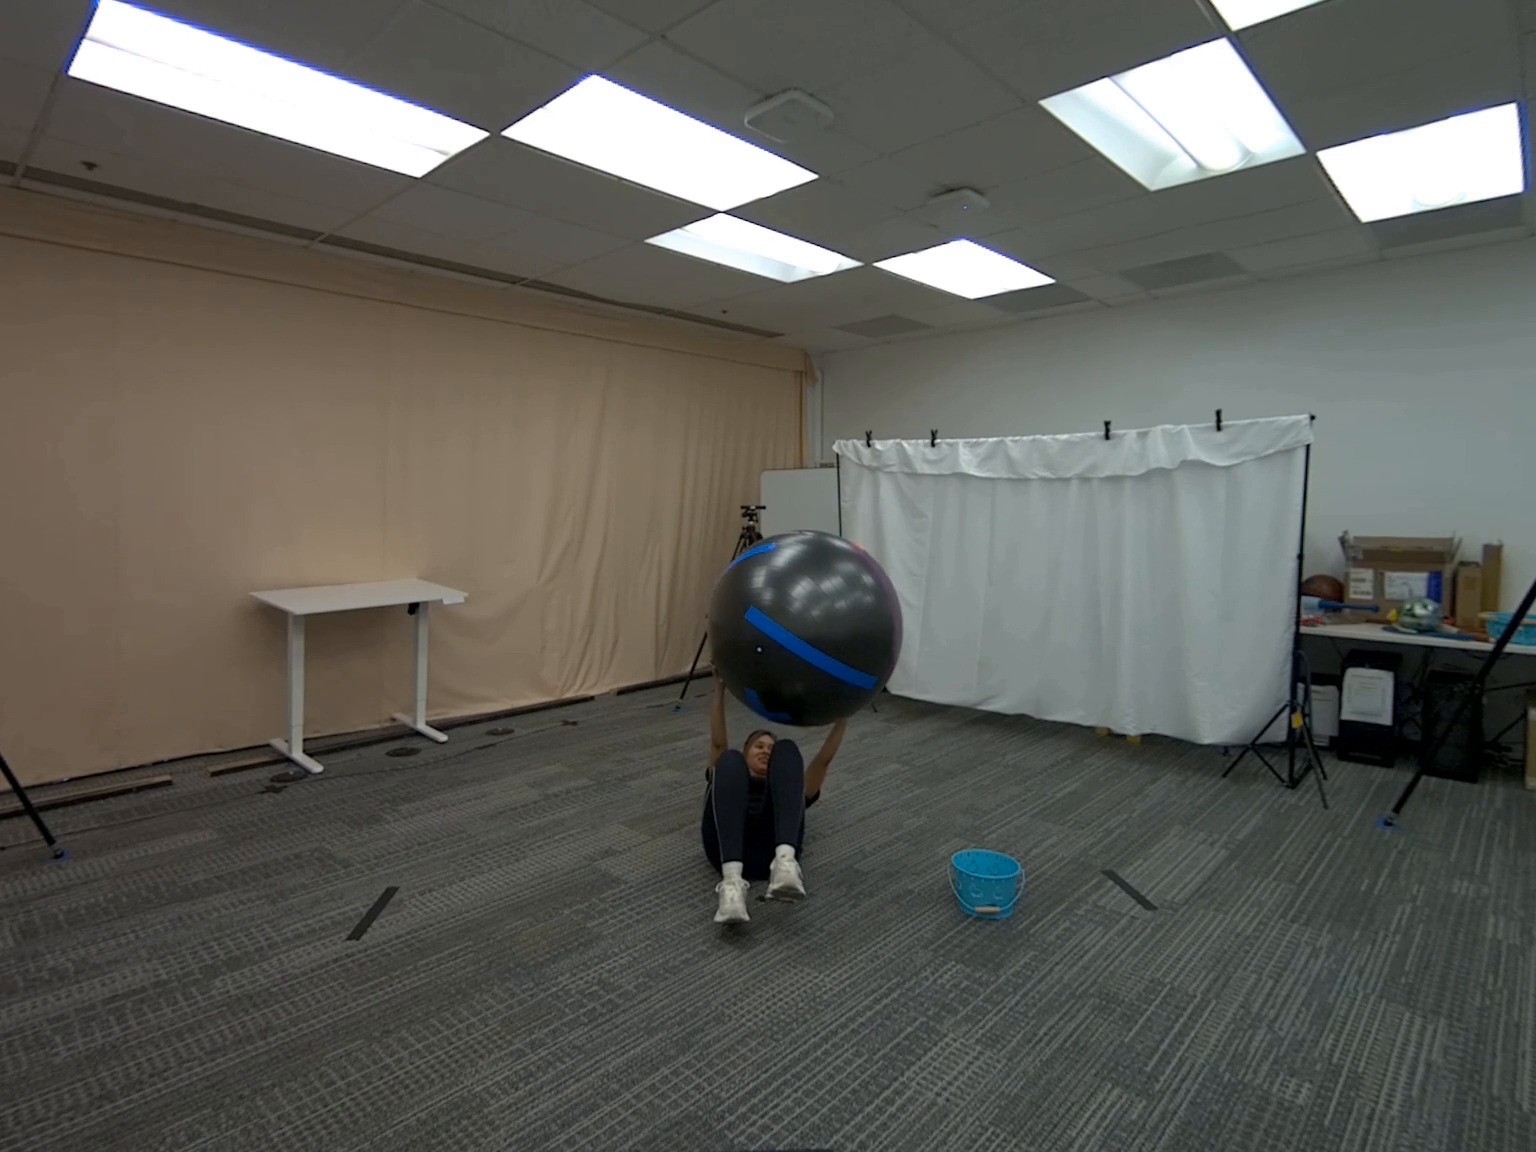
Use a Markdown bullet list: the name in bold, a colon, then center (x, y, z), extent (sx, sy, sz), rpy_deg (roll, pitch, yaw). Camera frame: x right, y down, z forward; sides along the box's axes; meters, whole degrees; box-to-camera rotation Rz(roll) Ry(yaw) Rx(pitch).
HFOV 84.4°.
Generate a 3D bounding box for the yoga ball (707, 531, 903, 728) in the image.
- **yoga ball**: center (0.140, 0.210, 3.280), extent (0.757, 0.756, 0.760), rpy_deg (0, 4, -2)
